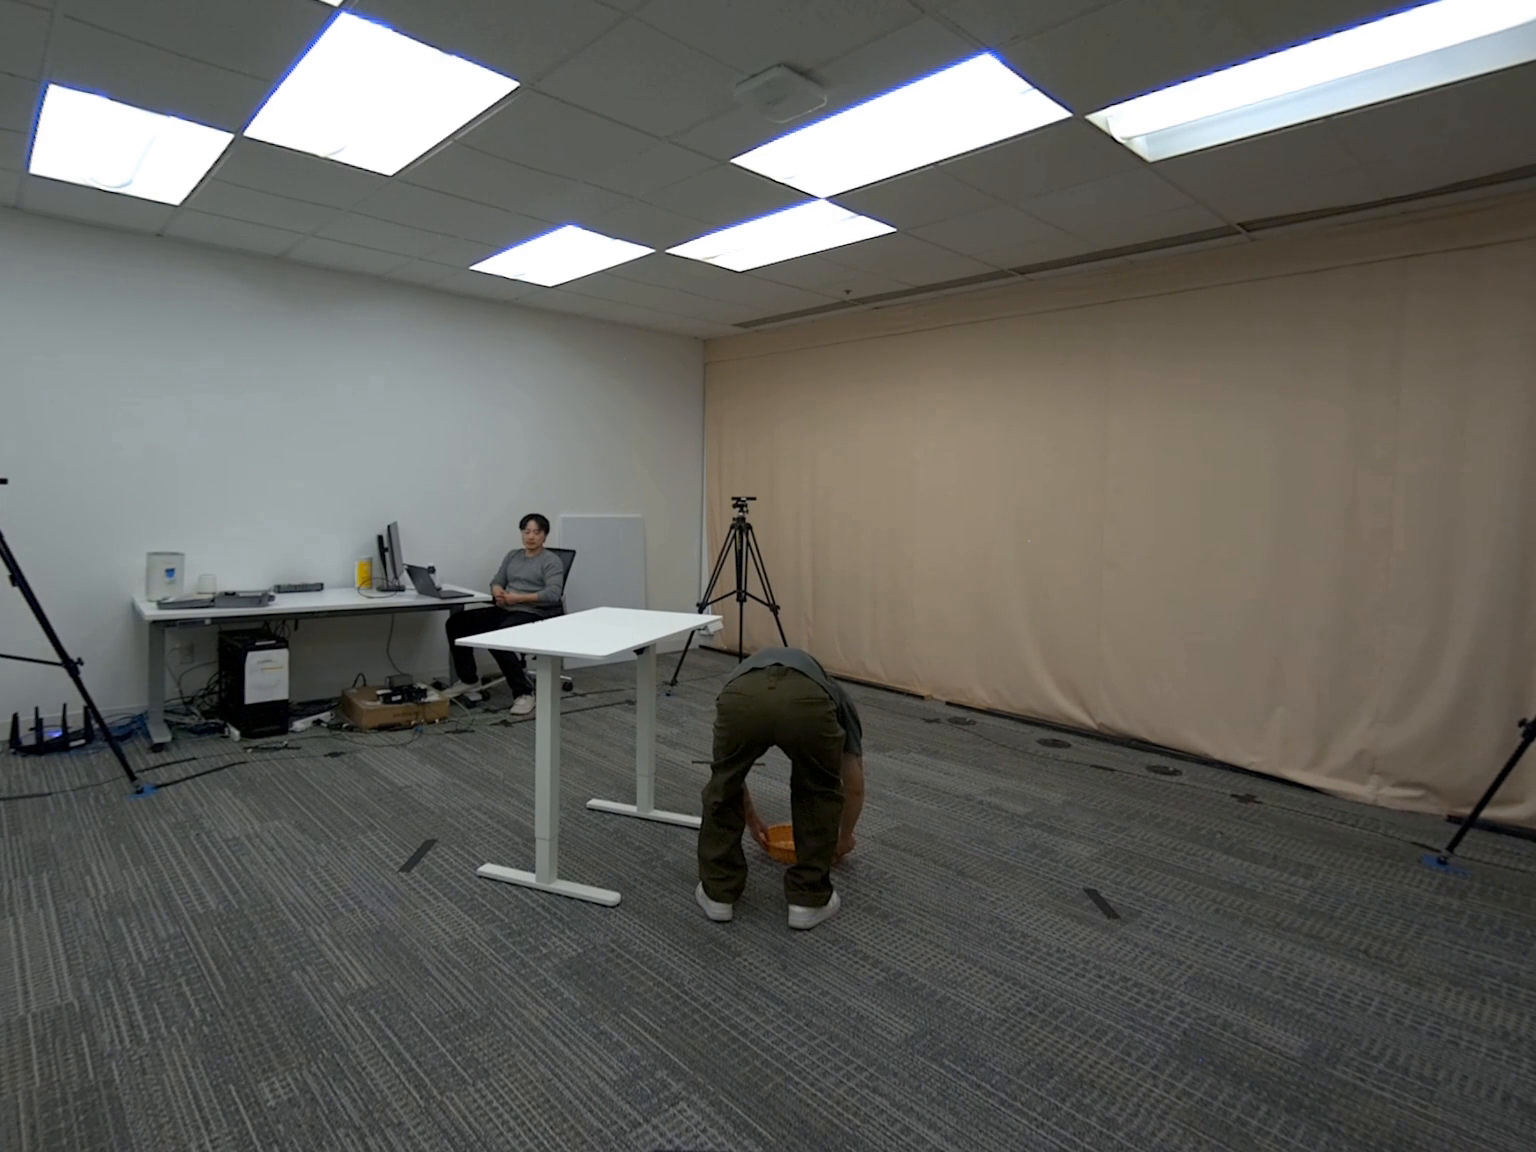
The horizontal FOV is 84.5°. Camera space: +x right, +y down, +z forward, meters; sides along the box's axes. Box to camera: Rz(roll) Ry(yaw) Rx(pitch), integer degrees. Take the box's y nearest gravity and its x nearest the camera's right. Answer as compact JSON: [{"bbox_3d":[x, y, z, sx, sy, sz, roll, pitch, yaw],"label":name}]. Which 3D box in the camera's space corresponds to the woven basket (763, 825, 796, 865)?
[{"bbox_3d":[0.137,1.058,3.301,0.356,0.073,0.249,3,4,19],"label":"woven basket"}]
